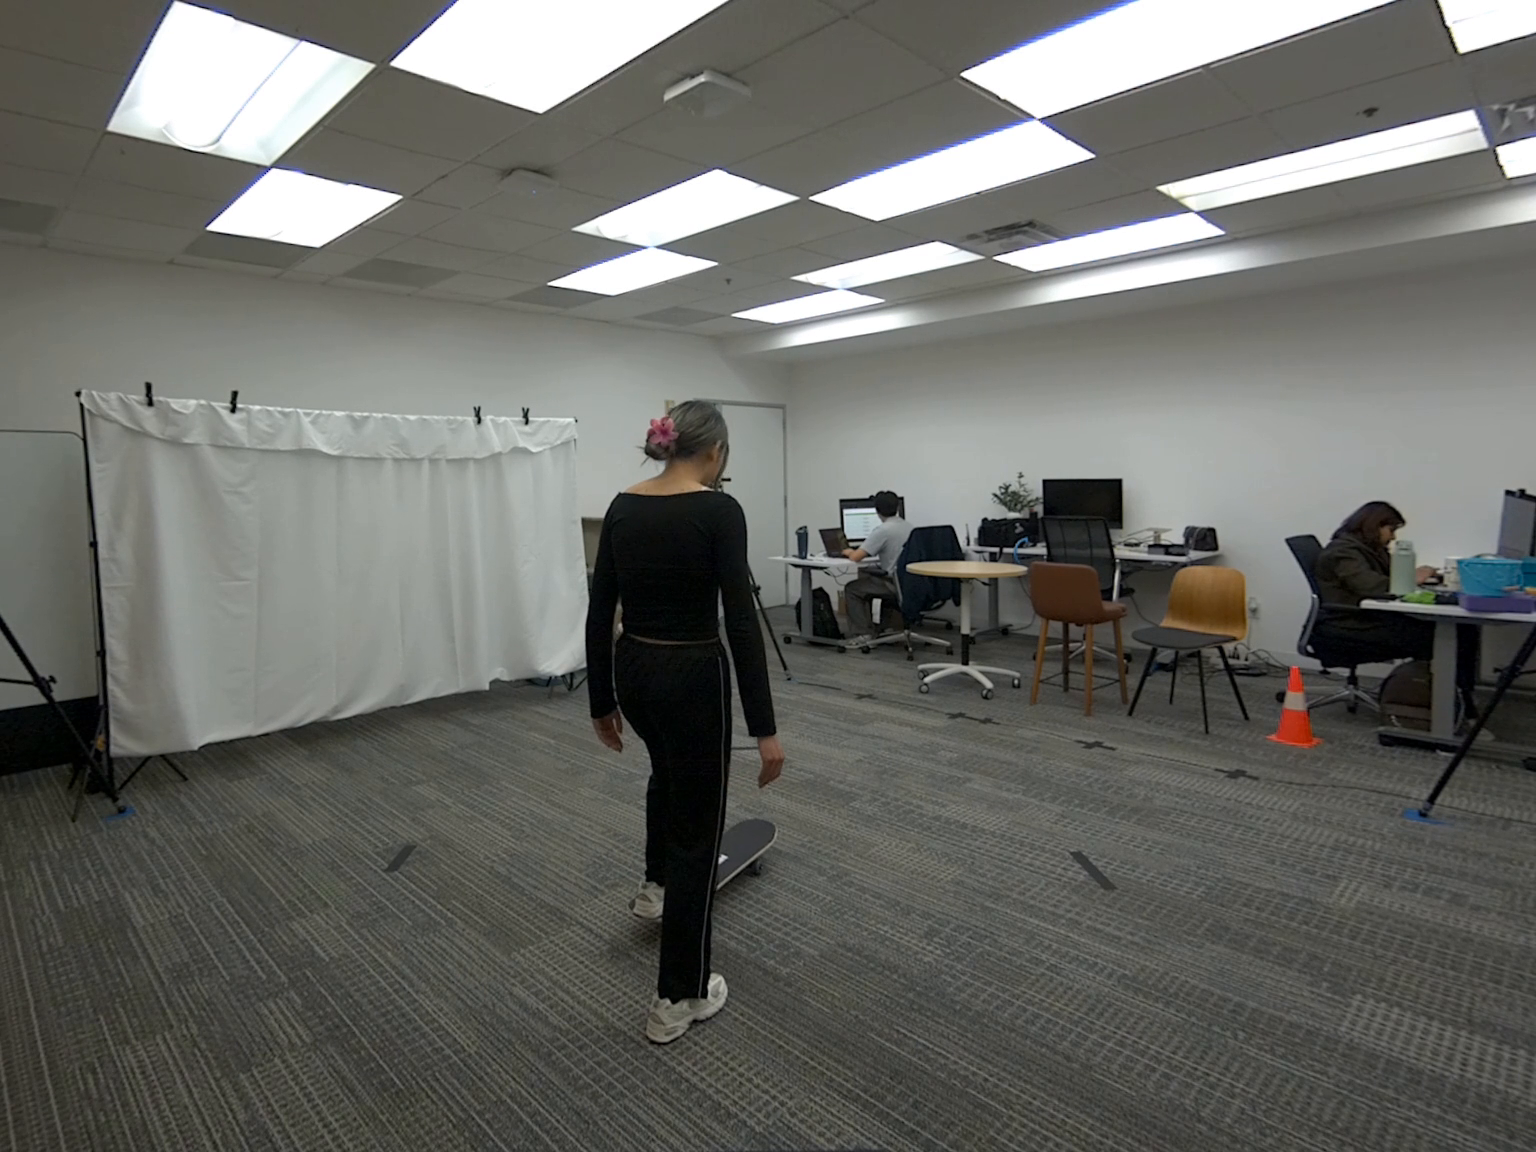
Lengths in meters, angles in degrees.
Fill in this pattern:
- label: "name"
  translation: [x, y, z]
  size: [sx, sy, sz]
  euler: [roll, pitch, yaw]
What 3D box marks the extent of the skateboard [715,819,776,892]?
- label: "skateboard"
  translation: [-0.195, 1.008, 2.883]
  size: [0.198, 0.109, 0.771]
  euler: [2, 9, 27]
